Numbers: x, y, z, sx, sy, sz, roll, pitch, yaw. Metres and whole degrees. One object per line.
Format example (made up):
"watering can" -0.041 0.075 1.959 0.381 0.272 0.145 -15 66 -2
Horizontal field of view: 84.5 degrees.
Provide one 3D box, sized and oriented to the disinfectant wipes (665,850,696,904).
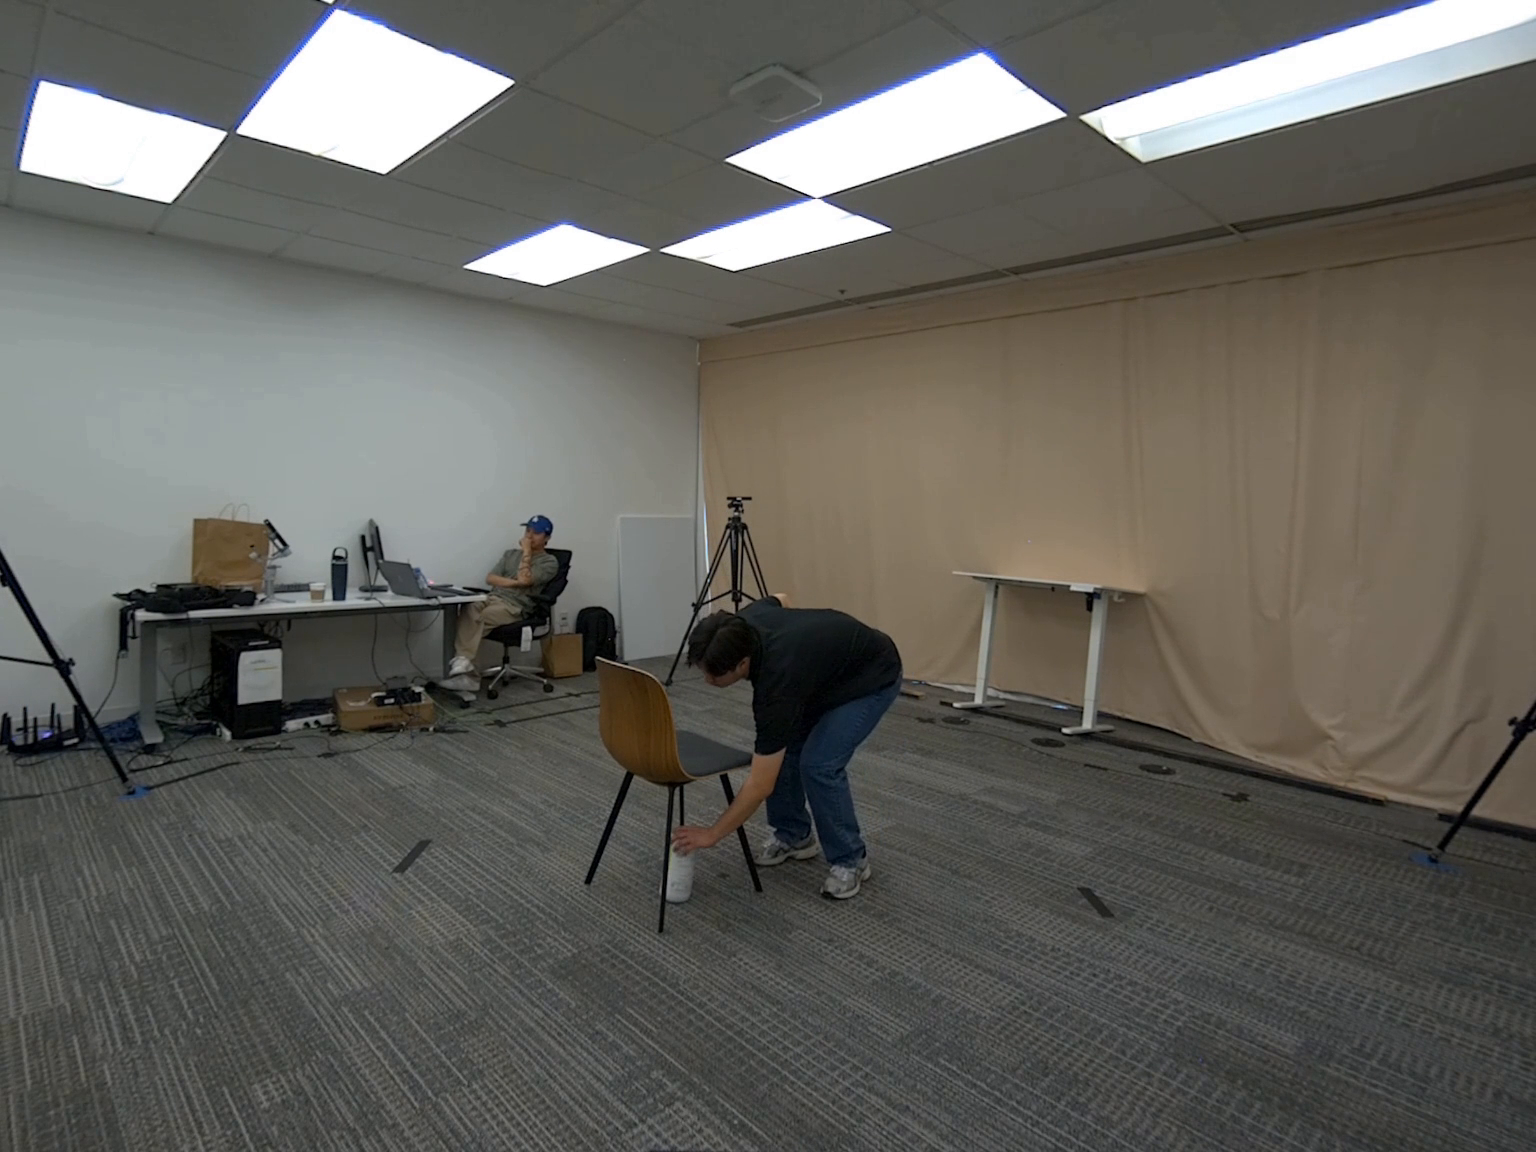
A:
"disinfectant wipes" -0.312 1.017 2.911 0.118 0.218 0.117 5 -4 -1
